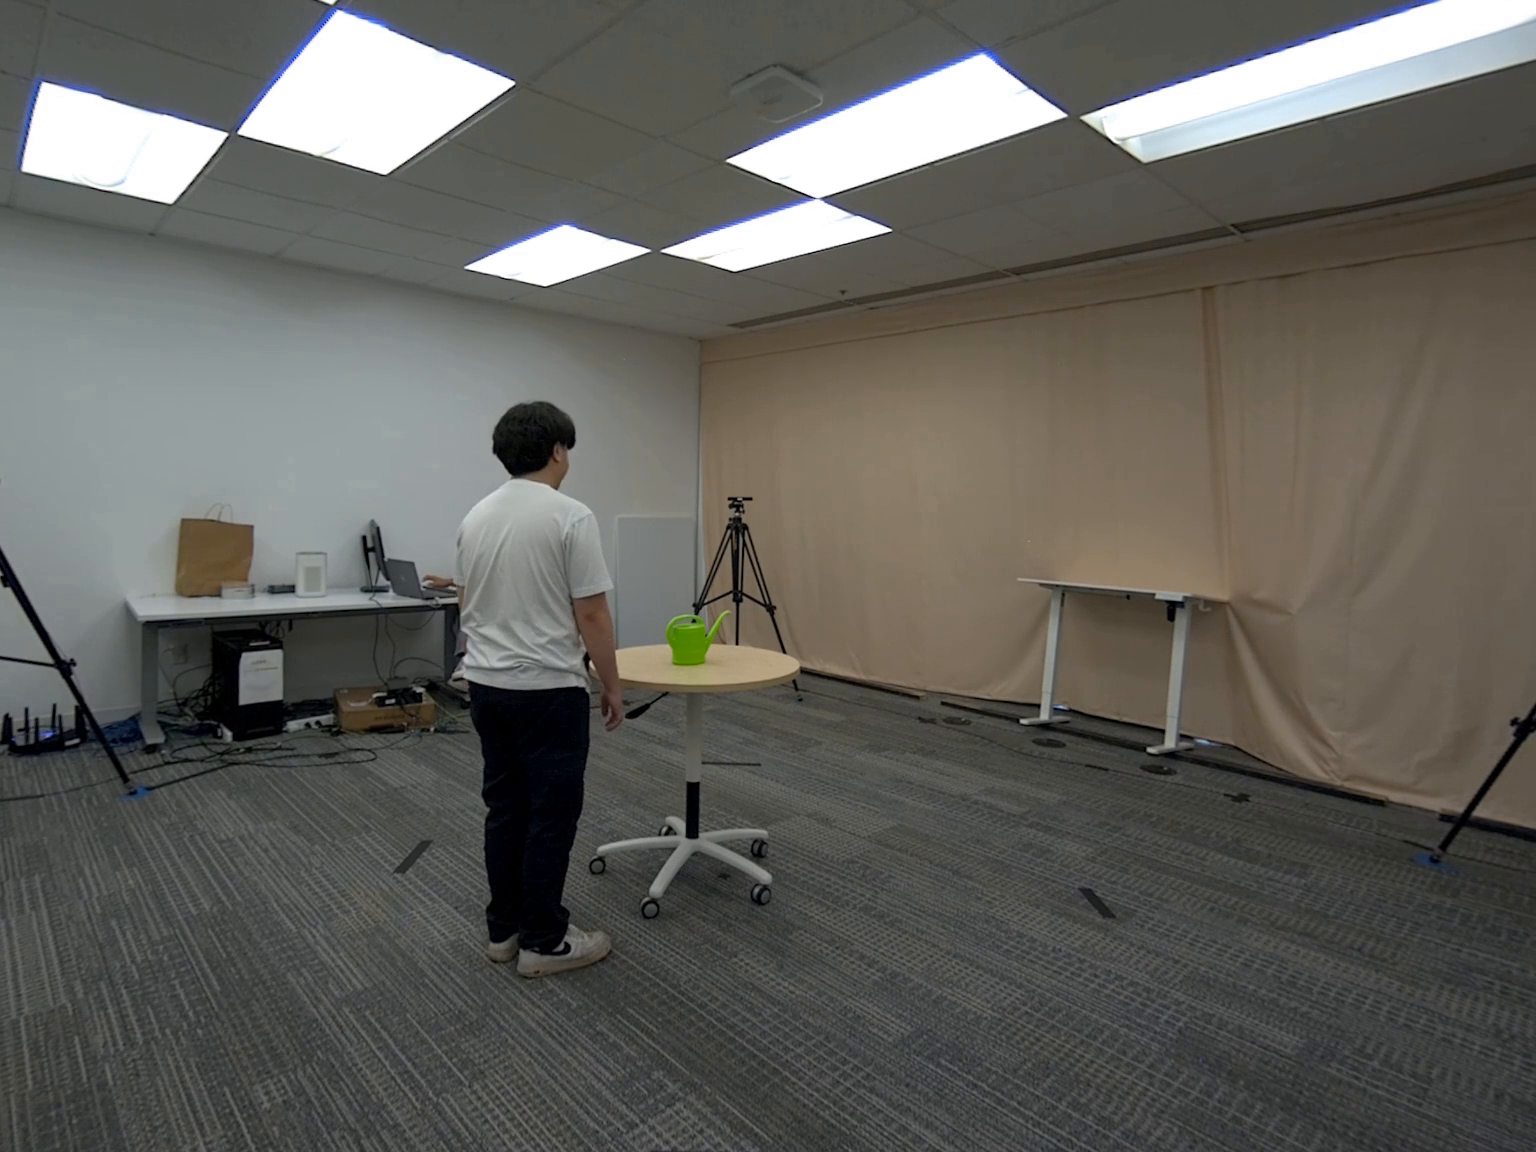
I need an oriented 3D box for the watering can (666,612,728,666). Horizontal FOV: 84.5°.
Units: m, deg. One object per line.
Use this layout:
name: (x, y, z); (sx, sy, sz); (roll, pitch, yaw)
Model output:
watering can: (-0.264, 0.227, 3.070); (0.273, 0.176, 0.100); (-3, 7, -27)
